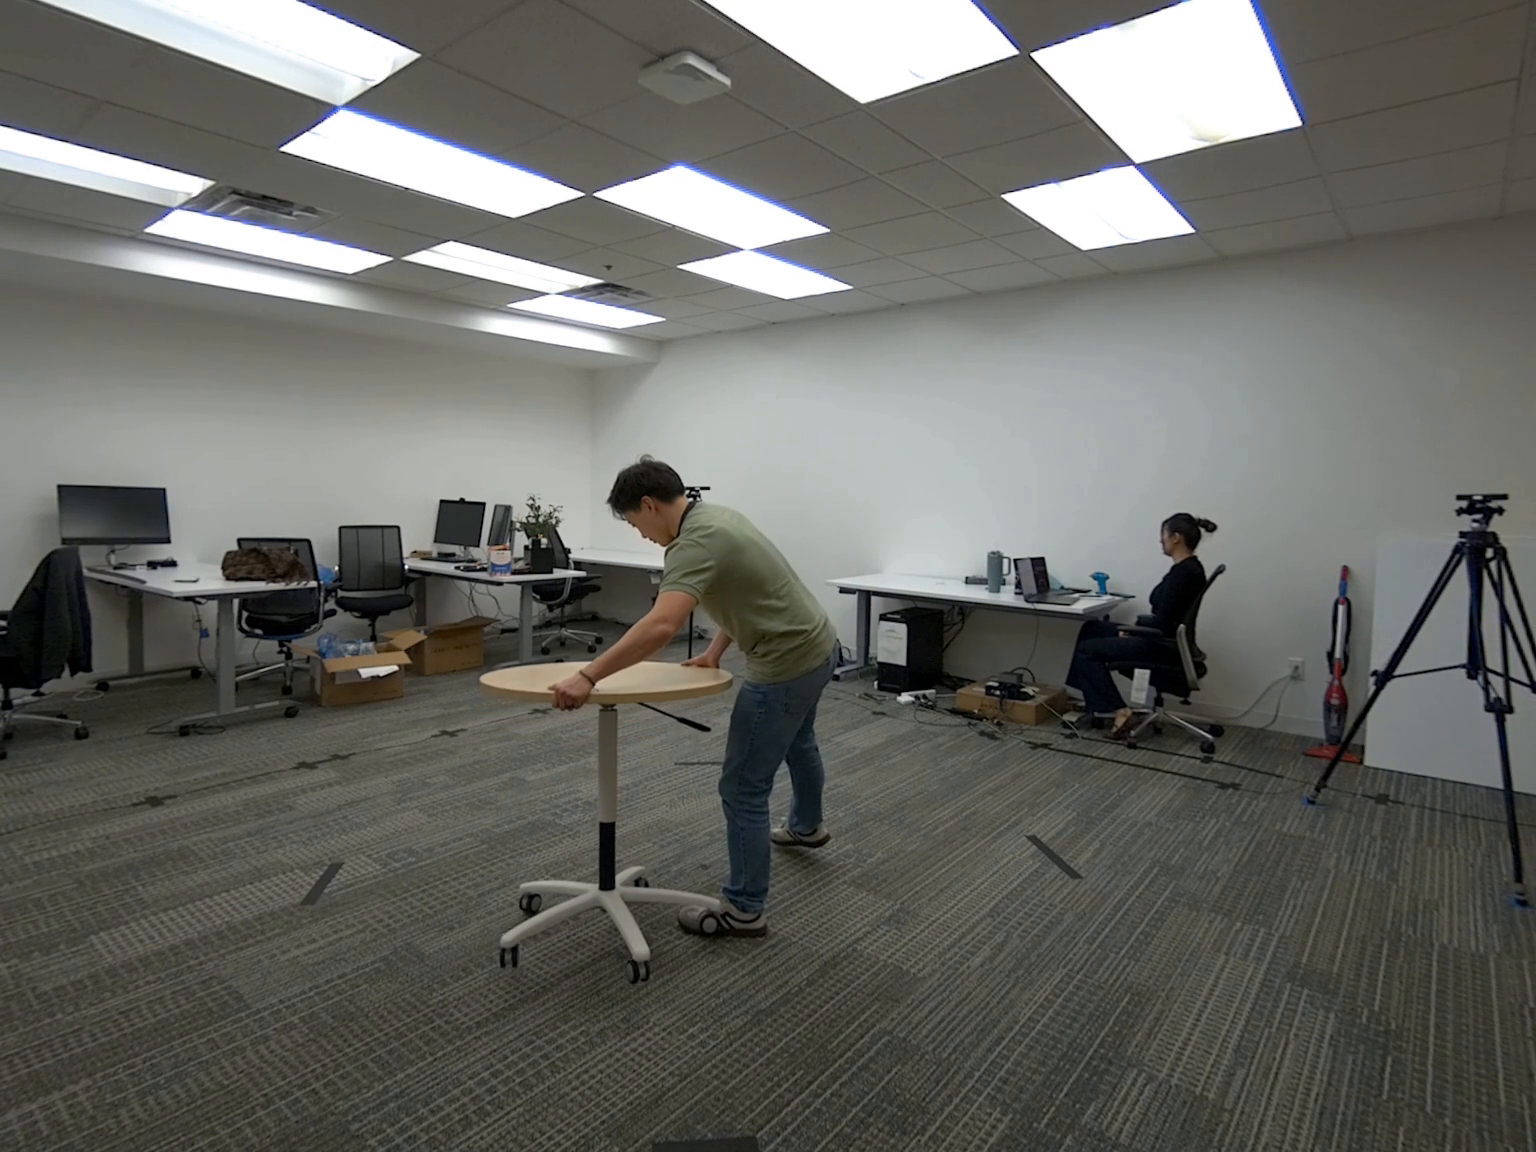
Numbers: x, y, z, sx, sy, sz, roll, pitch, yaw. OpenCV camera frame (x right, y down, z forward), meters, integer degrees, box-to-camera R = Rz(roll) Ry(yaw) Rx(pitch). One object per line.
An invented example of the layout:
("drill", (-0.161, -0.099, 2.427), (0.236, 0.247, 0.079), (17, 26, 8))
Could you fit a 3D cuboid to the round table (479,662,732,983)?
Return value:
("round table", (-0.504, 0.699, 2.598), (0.763, 0.795, 0.764), (0, -1, -2))
